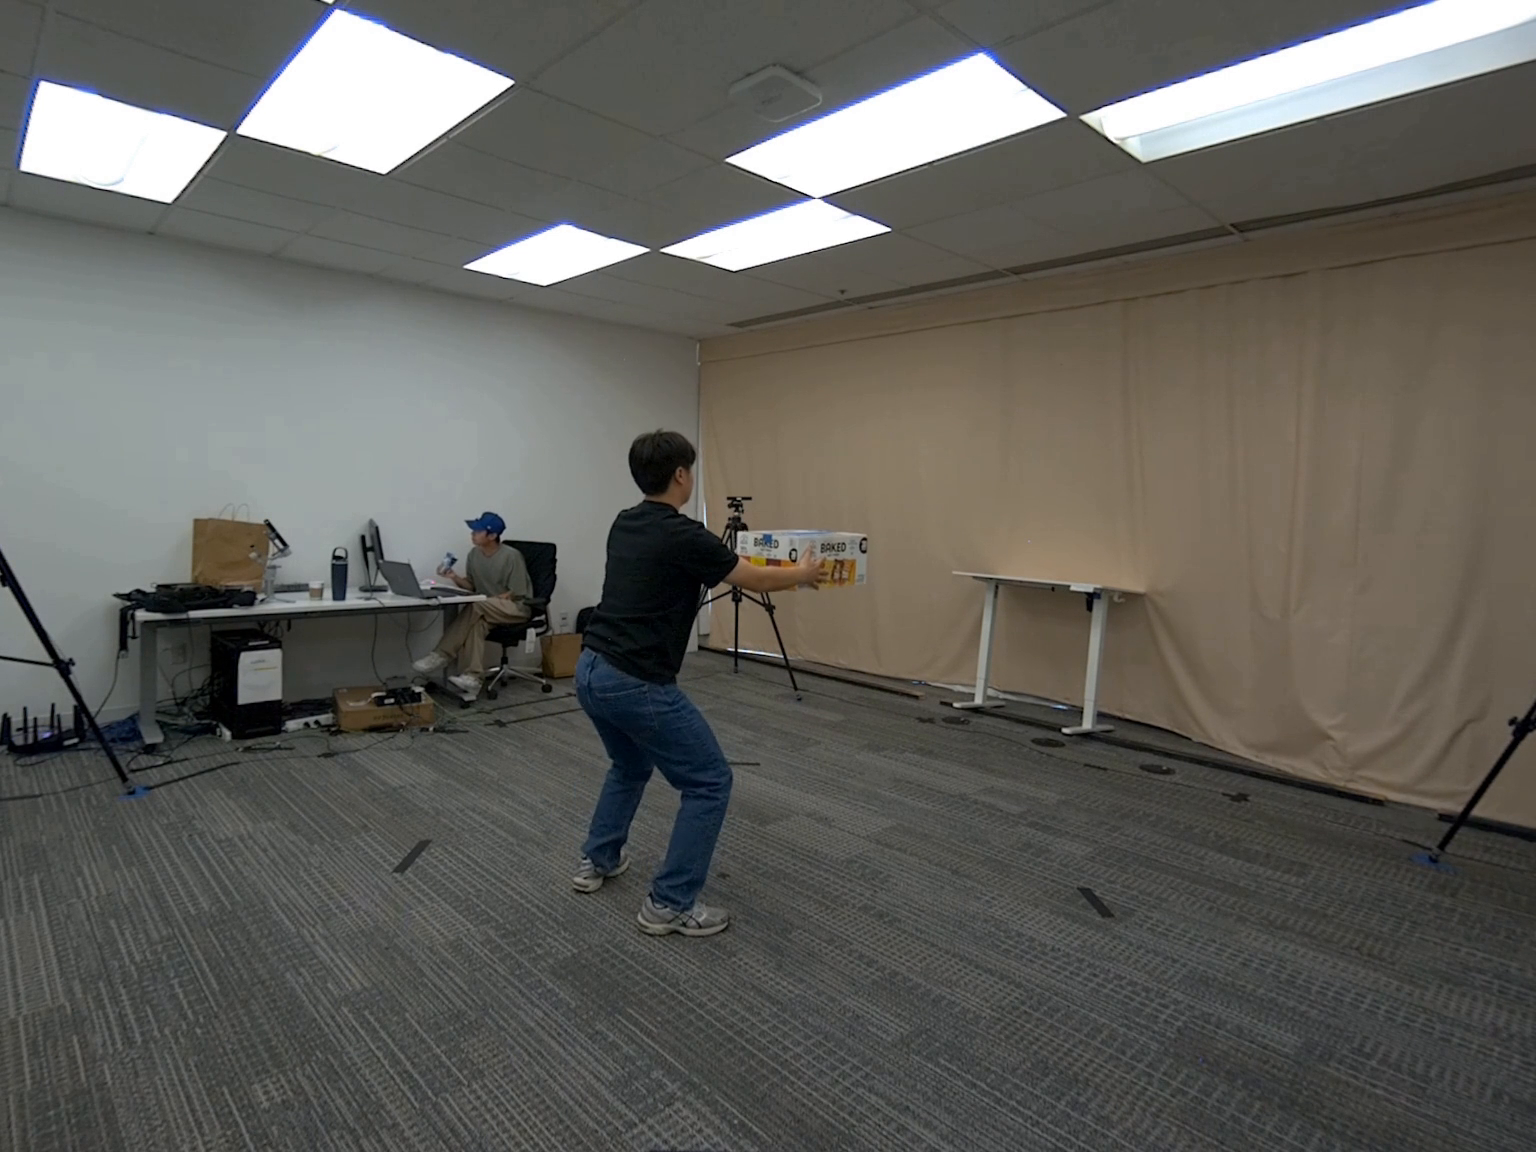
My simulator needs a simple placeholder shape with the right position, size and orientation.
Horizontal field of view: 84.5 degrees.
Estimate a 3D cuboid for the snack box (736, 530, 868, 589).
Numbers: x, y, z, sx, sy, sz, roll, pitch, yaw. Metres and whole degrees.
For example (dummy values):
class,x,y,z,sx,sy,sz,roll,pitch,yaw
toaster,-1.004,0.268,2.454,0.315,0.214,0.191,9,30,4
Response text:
class,x,y,z,sx,sy,sz,roll,pitch,yaw
snack box,0.133,-0.066,3.369,0.396,0.205,0.349,-4,8,-43
